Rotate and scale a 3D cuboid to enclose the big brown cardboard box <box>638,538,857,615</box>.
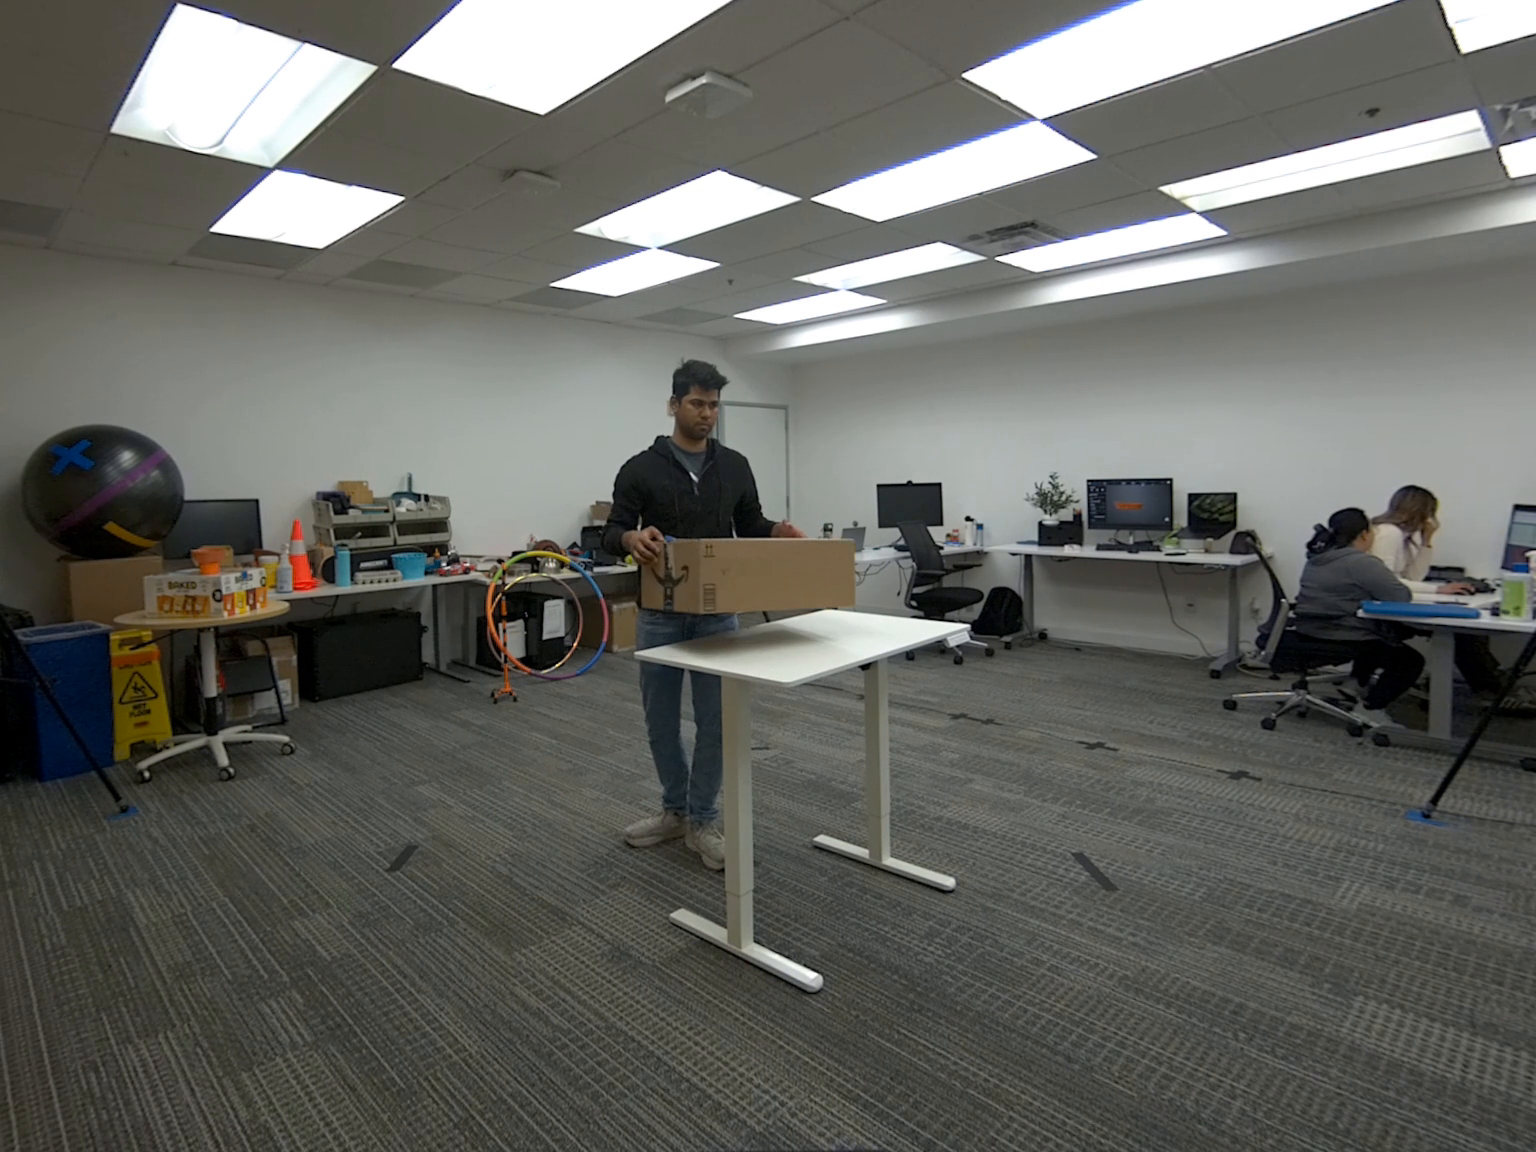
[{"bbox_3d":[-0.074,-0.002,2.761,0.575,0.233,0.428,-2,1,-31],"label":"big brown cardboard box"}]
